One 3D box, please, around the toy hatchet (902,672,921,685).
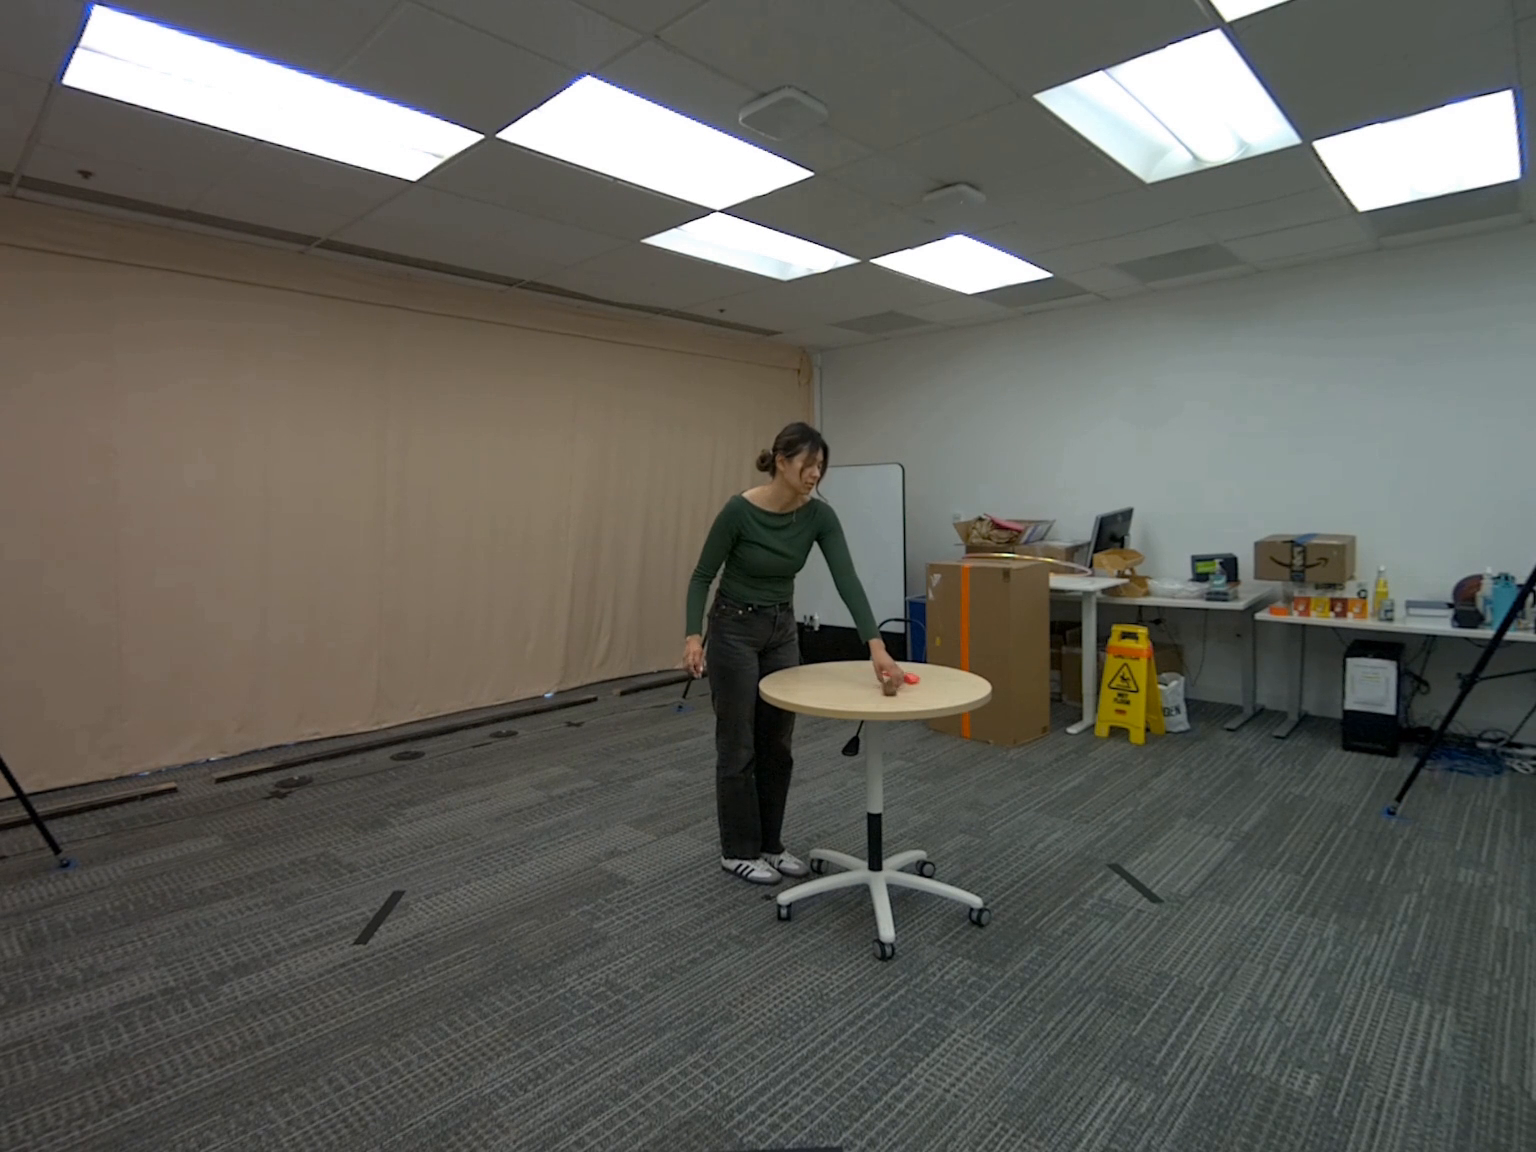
[{"bbox_3d":[0.432,0.356,2.760,0.132,0.029,0.269,0,8,4],"label":"toy hatchet"}]
